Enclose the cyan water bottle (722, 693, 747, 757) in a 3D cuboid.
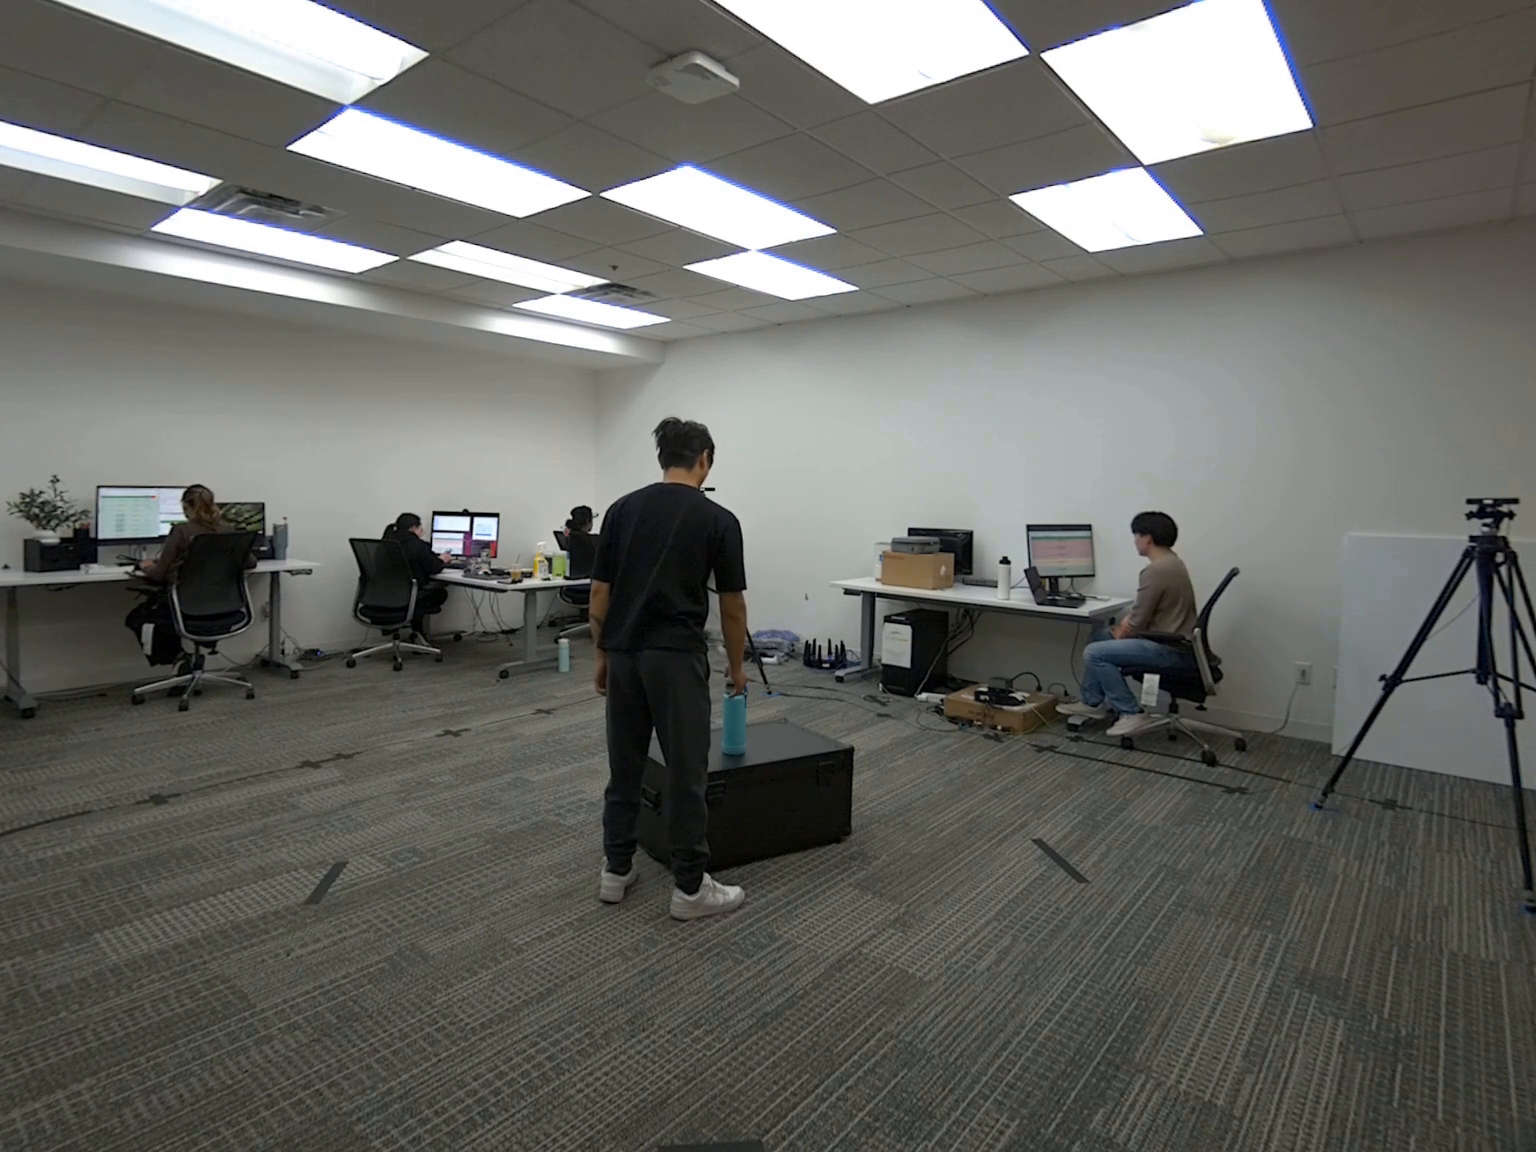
[{"bbox_3d":[-0.137,0.539,3.292,0.092,0.282,0.093,3,4,-2],"label":"cyan water bottle"}]
